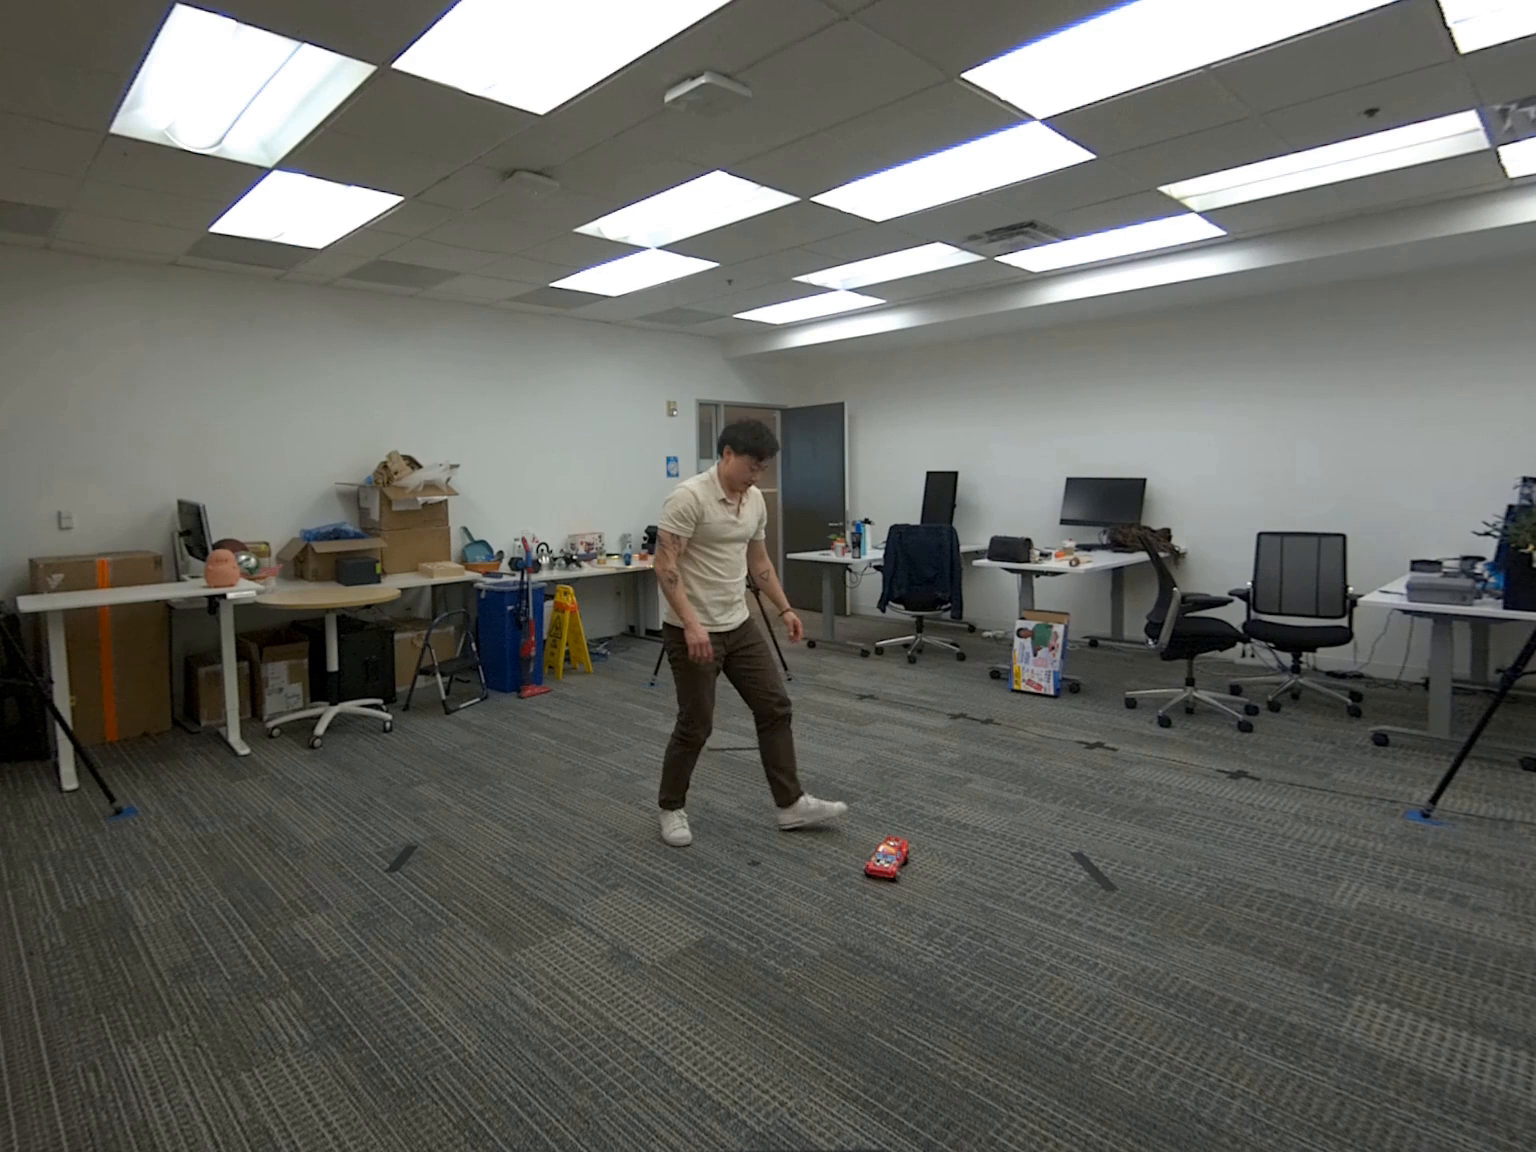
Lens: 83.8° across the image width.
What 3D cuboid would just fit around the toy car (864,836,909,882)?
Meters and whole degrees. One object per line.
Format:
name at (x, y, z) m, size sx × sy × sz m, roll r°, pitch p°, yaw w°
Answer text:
toy car at (0.435, 1.009, 3.056) m, size 0.133 × 0.082 × 0.253 m, roll 0°, pitch 18°, yaw 24°
